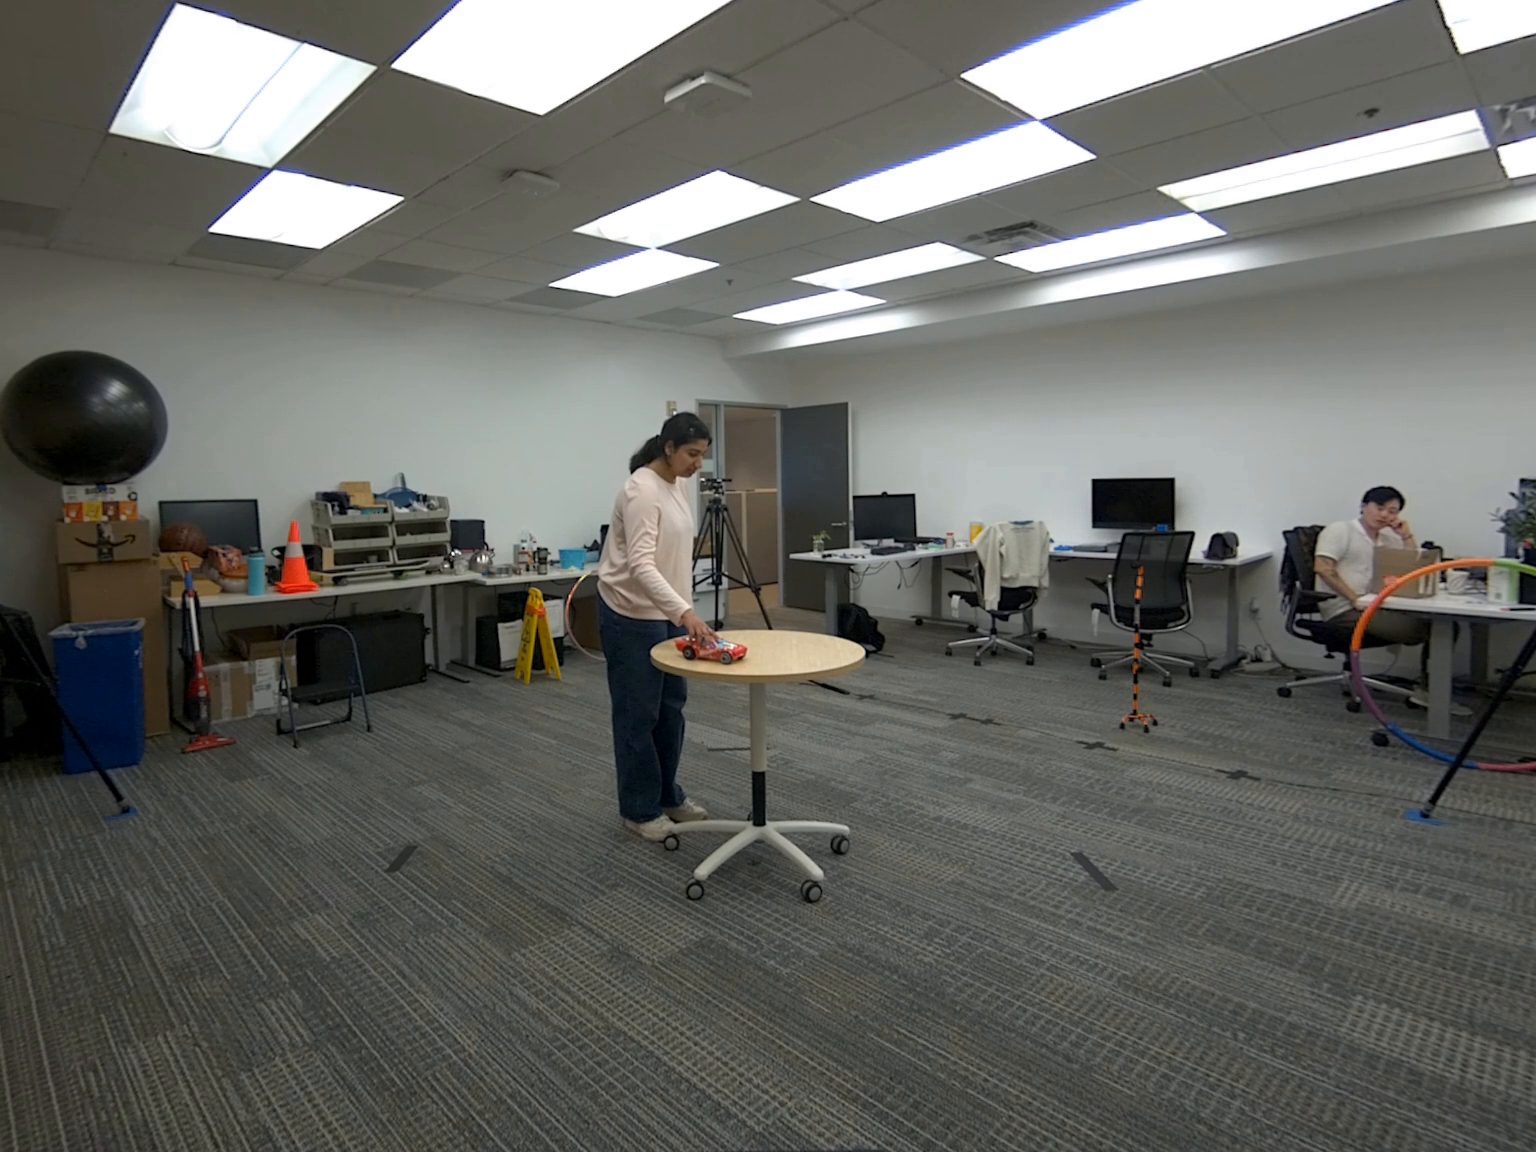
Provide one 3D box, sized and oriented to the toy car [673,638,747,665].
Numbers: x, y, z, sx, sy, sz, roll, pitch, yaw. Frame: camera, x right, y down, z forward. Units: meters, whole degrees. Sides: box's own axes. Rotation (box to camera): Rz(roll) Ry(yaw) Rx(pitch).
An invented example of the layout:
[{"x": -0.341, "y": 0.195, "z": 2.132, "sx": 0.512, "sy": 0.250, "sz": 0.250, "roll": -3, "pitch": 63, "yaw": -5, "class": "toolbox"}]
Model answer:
[{"x": -0.197, "y": 0.252, "z": 2.930, "sx": 0.262, "sy": 0.082, "sz": 0.127, "roll": 15, "pitch": 13, "yaw": 27, "class": "toy car"}]
